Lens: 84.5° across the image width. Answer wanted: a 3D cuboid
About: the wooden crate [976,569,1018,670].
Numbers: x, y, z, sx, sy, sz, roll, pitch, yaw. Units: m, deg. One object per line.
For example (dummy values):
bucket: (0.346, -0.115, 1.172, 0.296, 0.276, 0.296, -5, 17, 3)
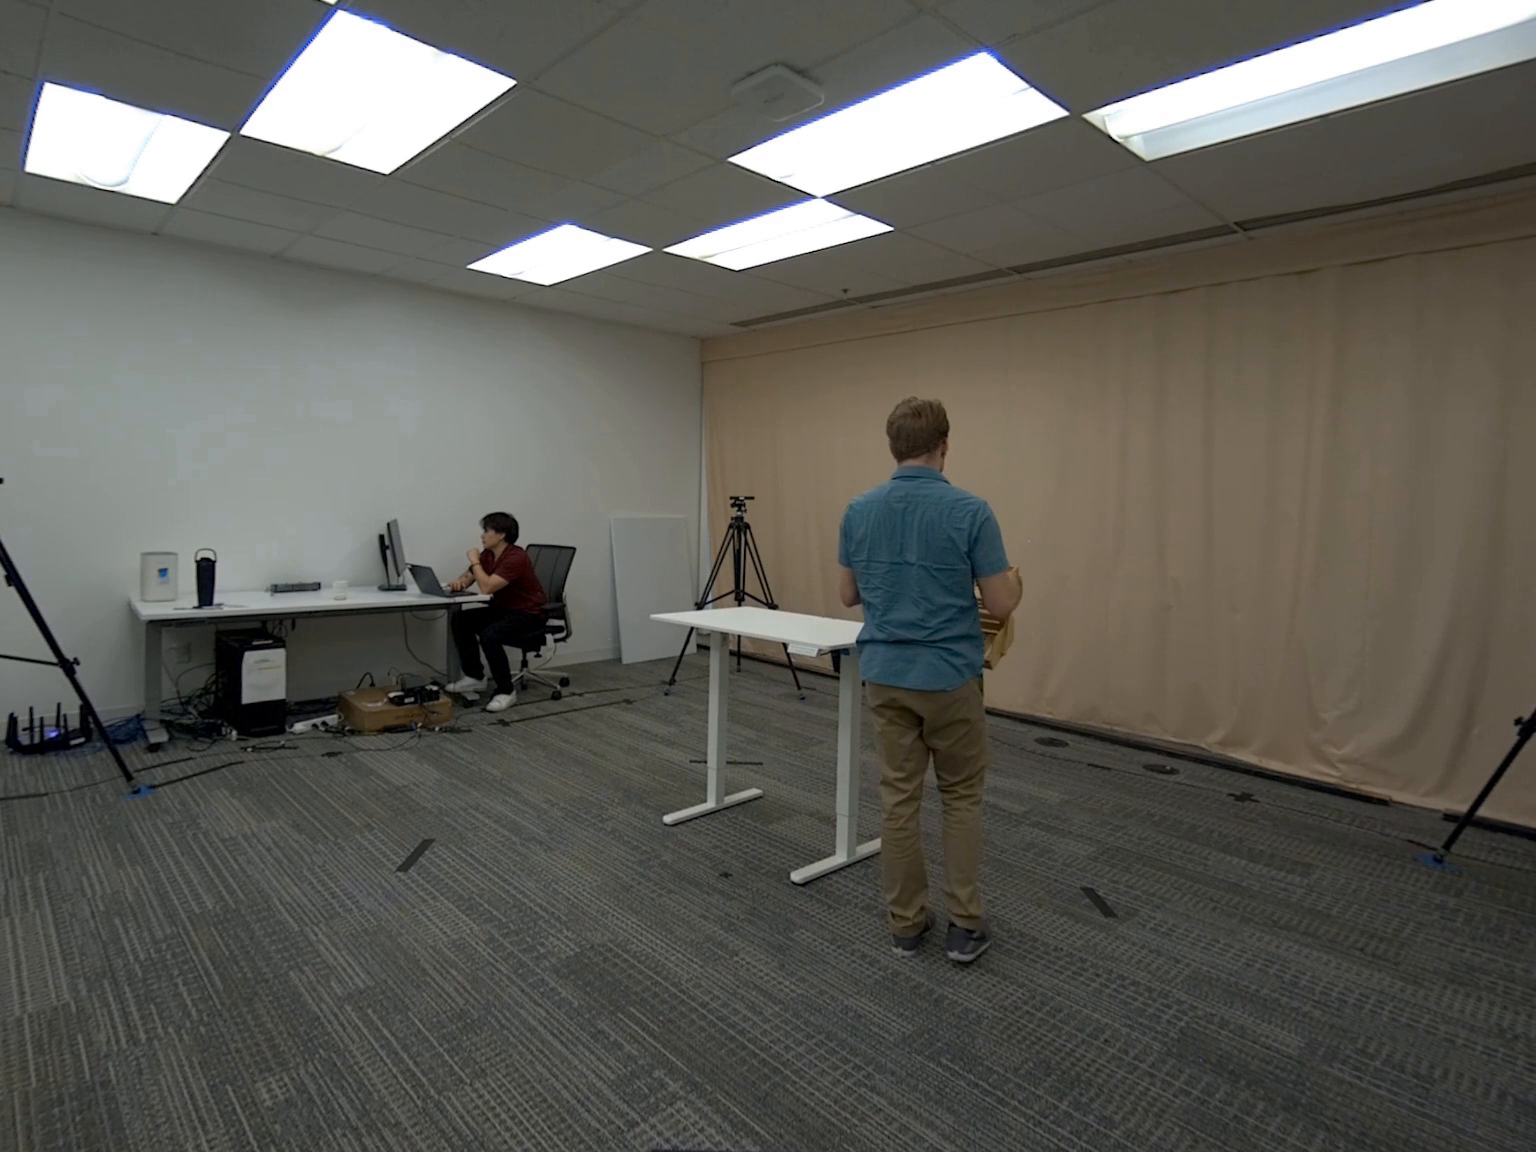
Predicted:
wooden crate: (0.658, 0.126, 2.875, 0.332, 0.269, 0.299, 7, 23, 32)
